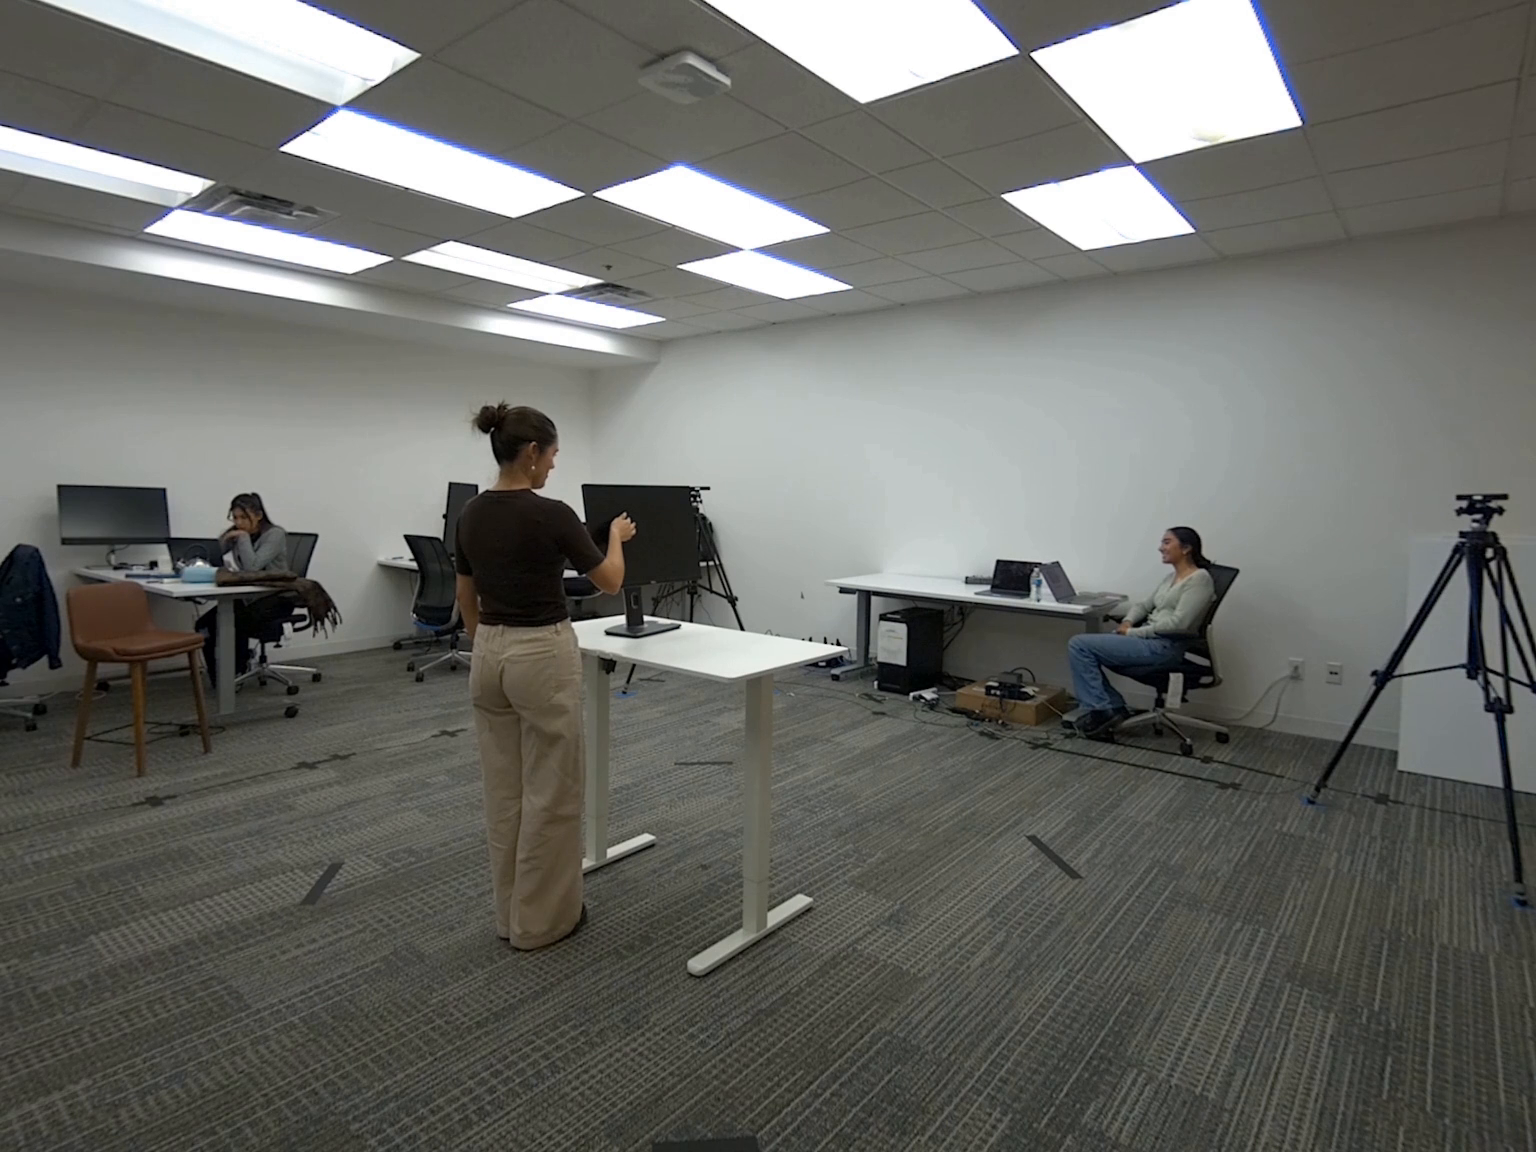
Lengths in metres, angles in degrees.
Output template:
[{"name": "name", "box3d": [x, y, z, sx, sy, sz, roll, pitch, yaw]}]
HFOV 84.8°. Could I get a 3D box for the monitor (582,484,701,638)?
[{"name": "monitor", "box3d": [-0.458, -0.060, 2.980, 0.193, 0.521, 0.524, 4, 5, 36]}]
